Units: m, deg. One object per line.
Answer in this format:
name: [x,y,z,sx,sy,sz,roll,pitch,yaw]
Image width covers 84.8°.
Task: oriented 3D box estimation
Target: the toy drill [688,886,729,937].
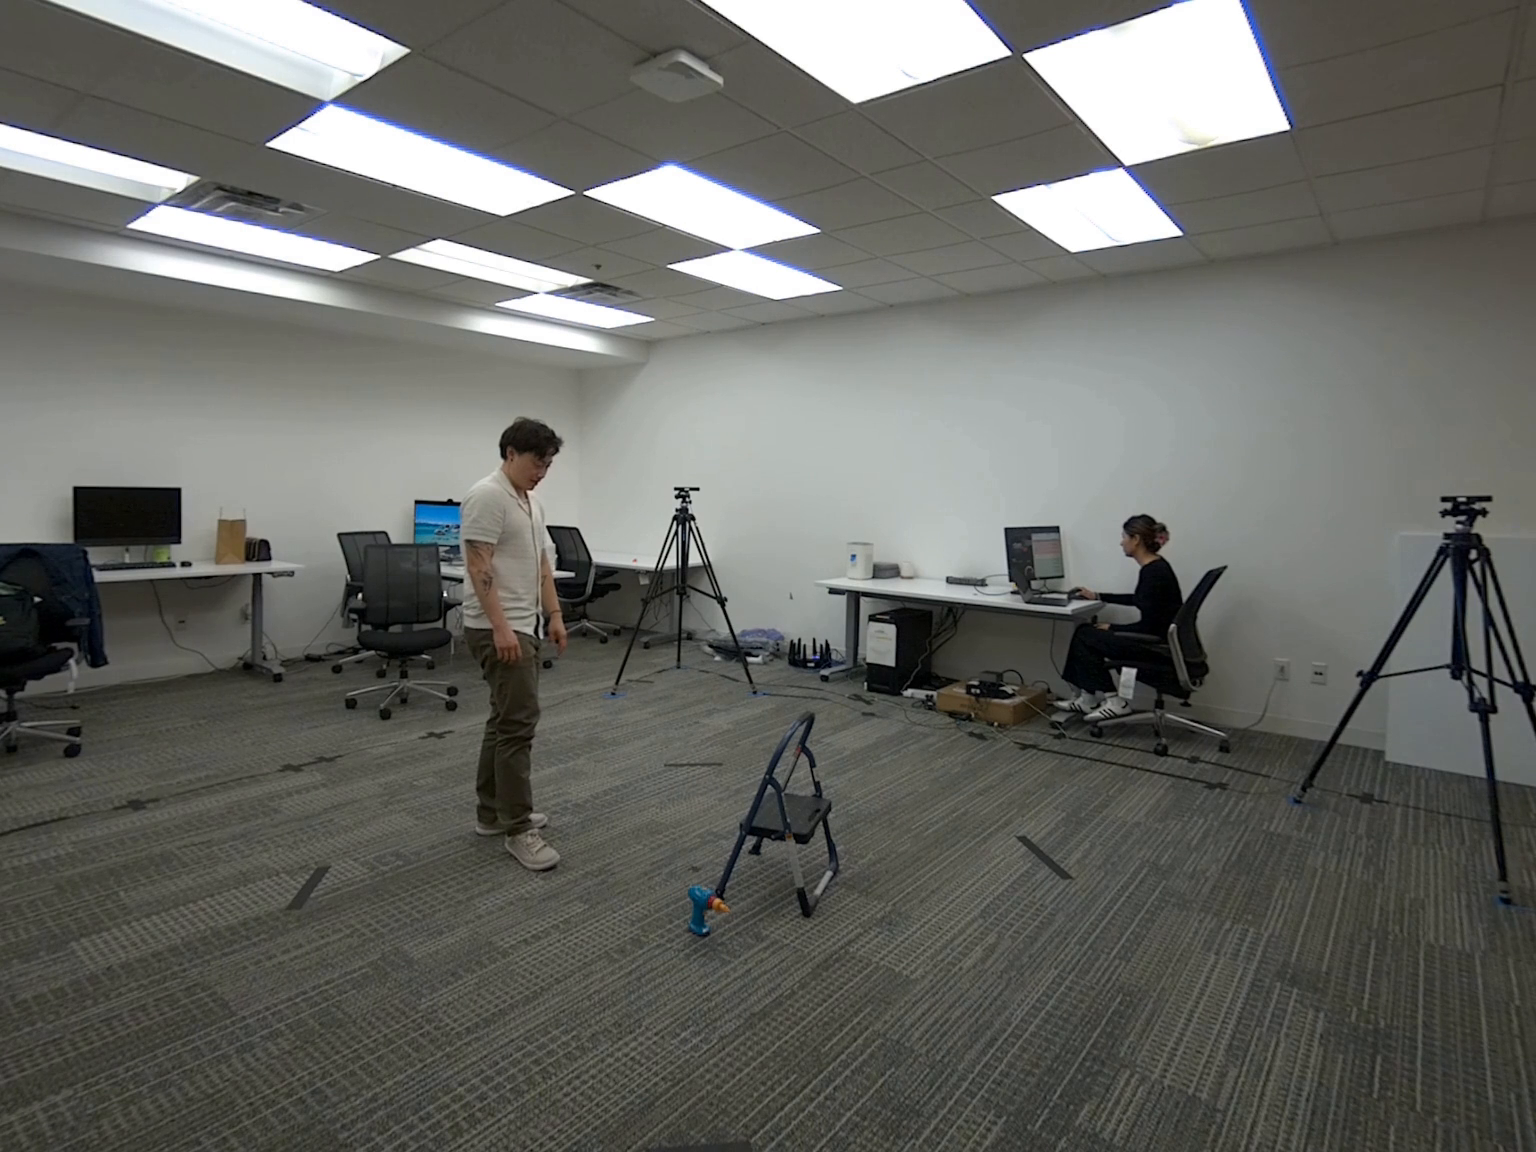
toy drill: [-0.194,1.040,2.633,0.176,0.145,0.059,6,5,42]
